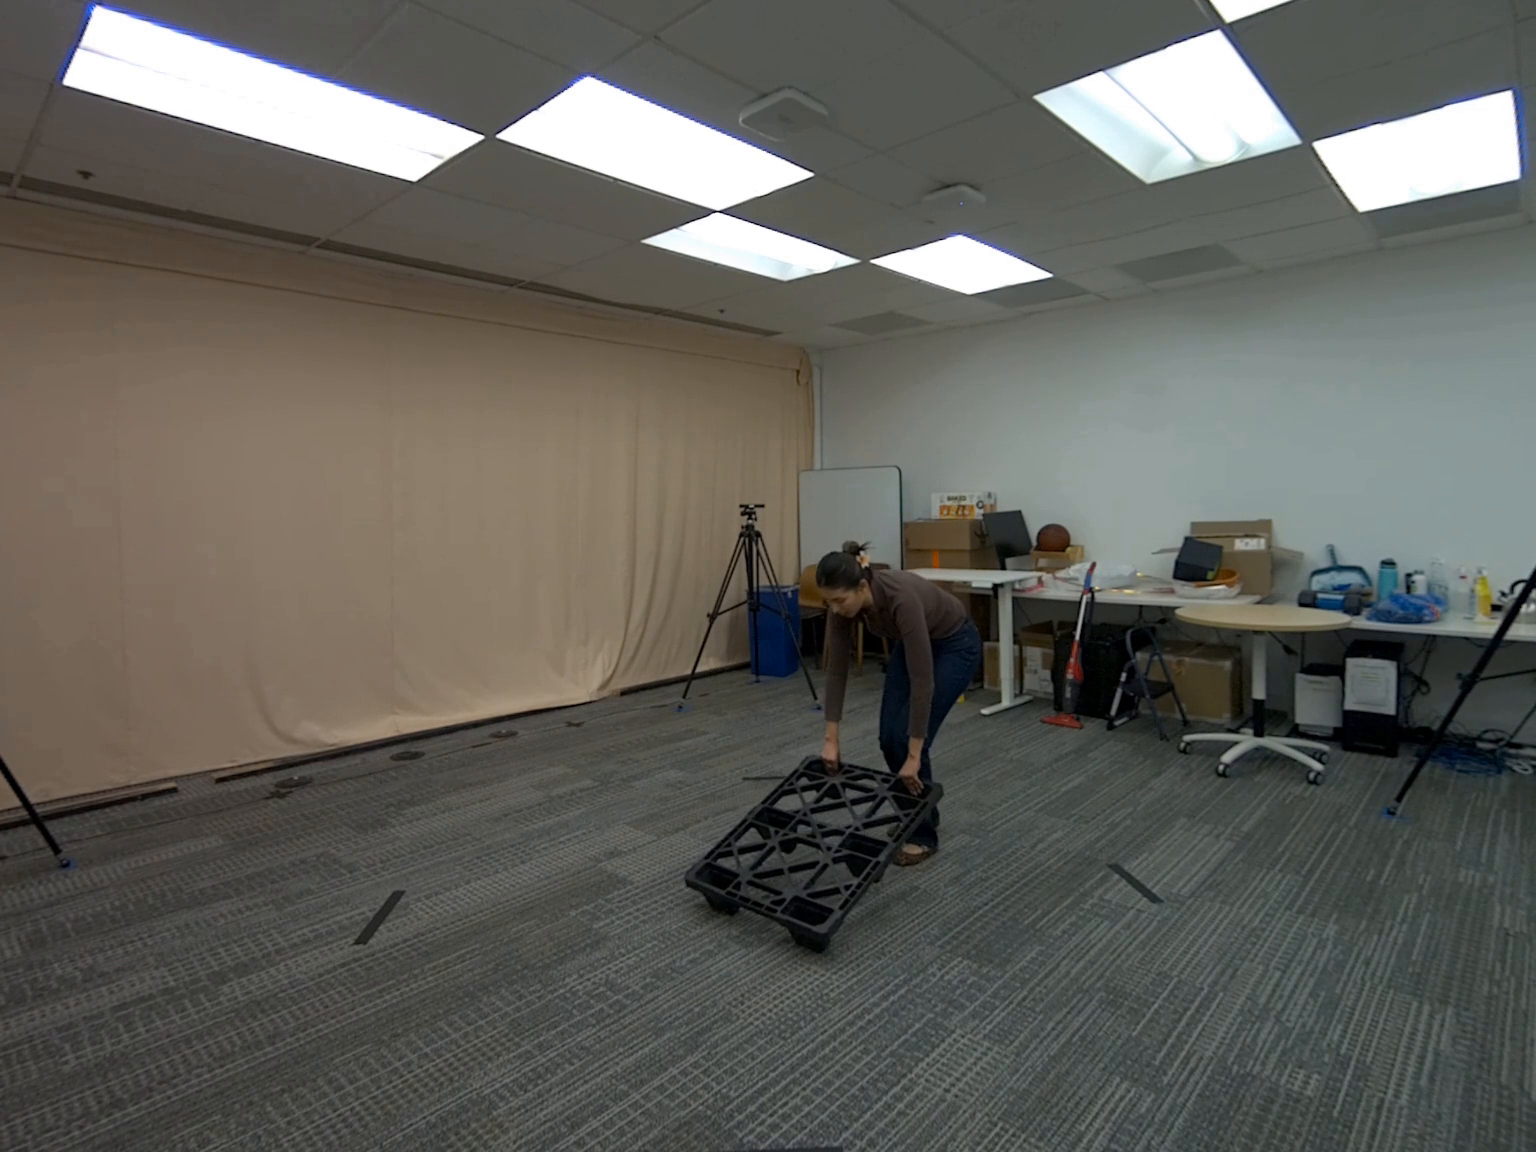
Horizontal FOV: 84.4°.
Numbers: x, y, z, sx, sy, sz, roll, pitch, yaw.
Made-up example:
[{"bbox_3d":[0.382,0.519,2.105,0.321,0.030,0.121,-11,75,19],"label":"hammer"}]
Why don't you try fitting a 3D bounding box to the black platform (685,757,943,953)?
[{"bbox_3d":[0.192,0.958,2.986,0.625,0.141,0.791,4,26,40],"label":"black platform"}]
